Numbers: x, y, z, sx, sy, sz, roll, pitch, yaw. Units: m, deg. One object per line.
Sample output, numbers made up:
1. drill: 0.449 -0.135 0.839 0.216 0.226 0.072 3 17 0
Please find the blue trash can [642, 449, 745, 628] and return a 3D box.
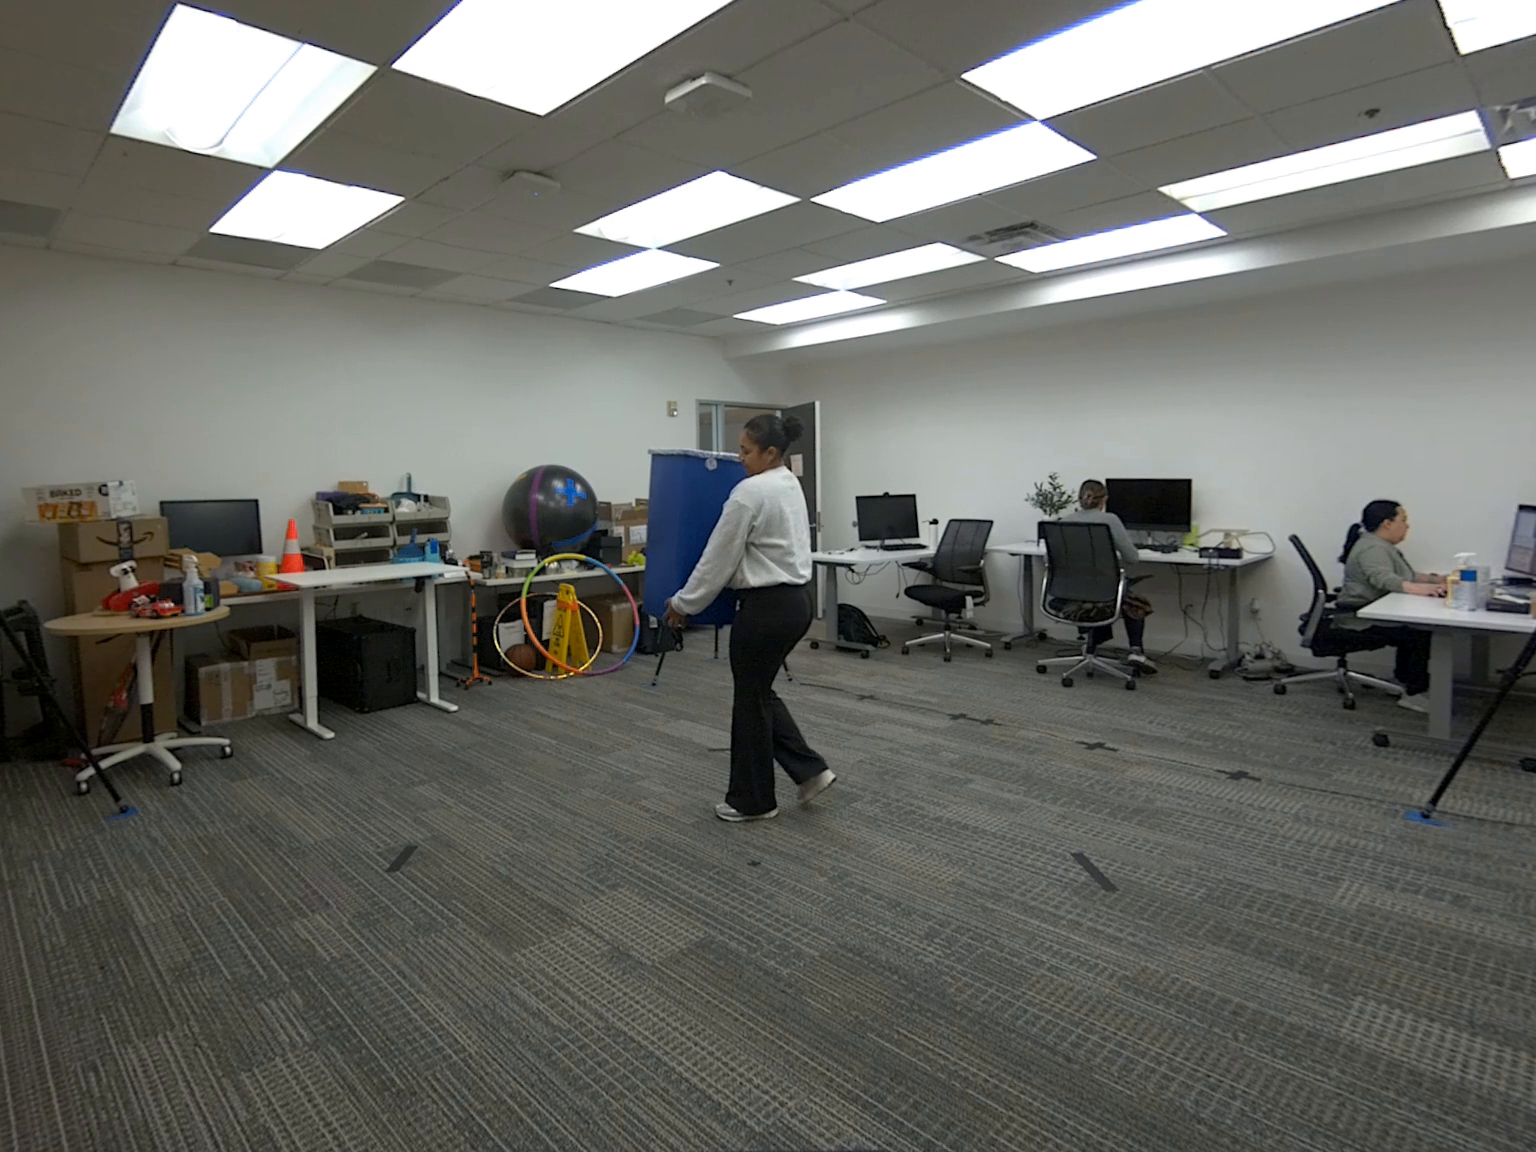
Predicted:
1. blue trash can: -0.307 -0.175 3.676 0.364 0.711 0.390 3 5 -32
